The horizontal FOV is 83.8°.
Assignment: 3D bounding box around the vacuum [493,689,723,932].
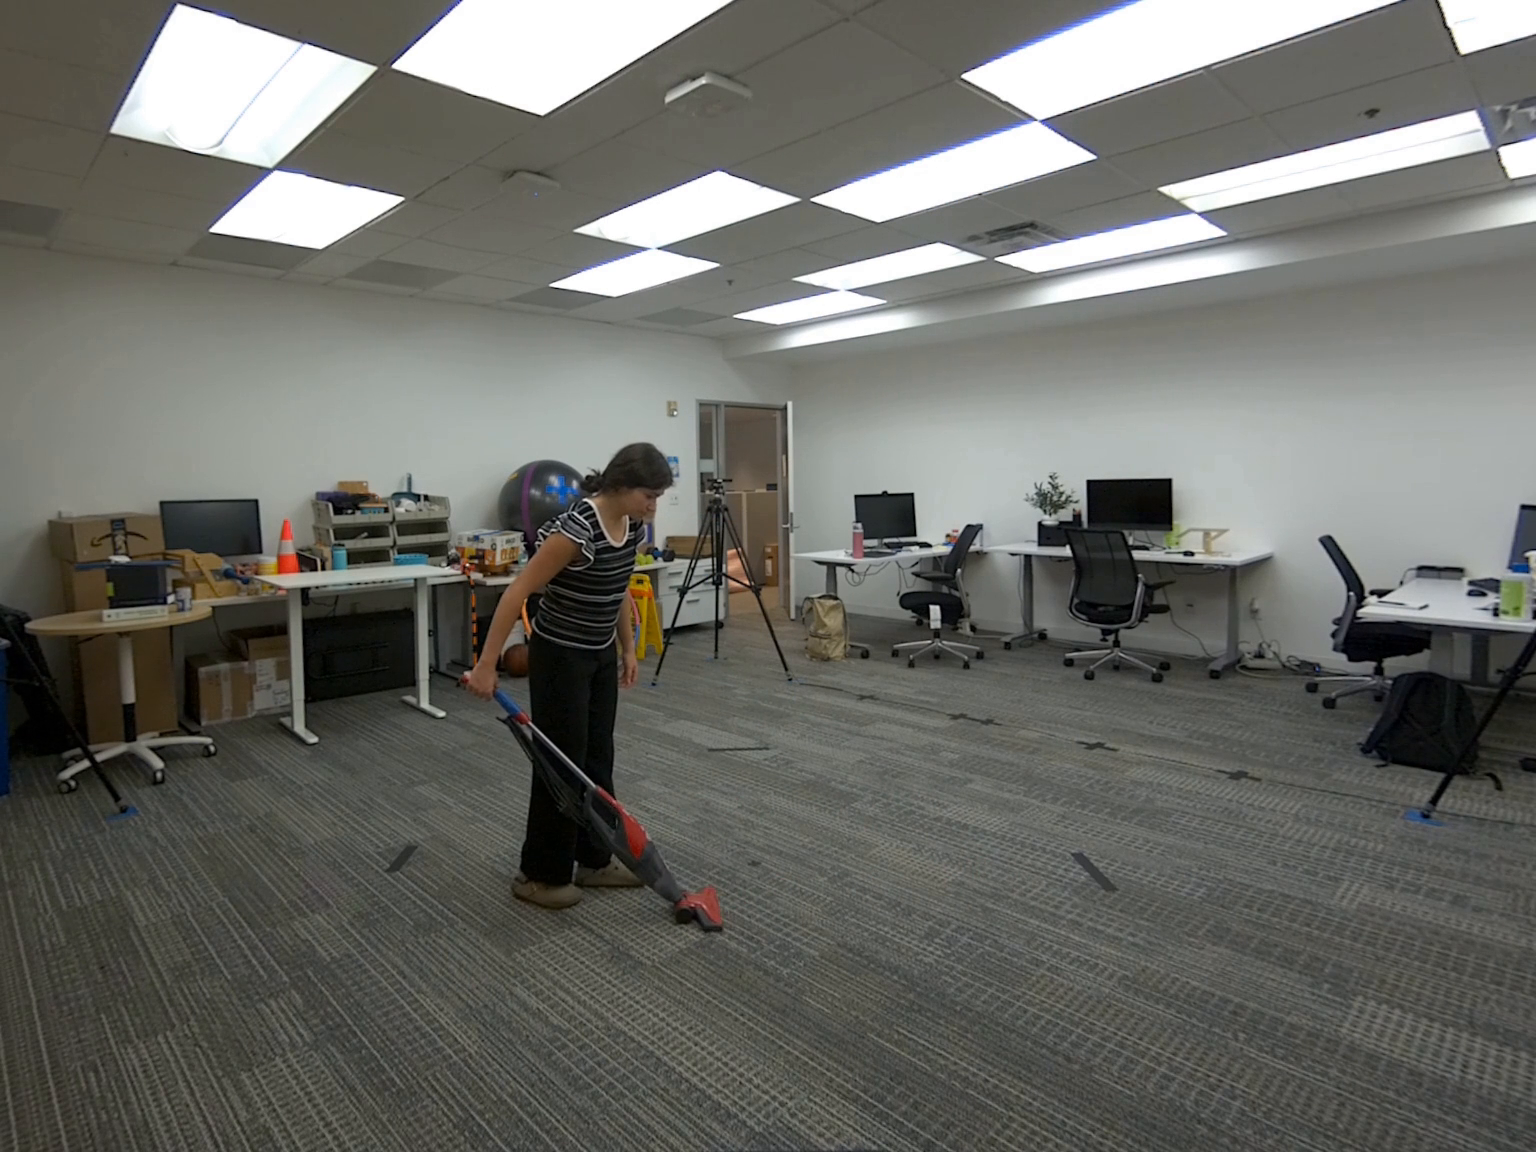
[{"bbox_3d":[-0.563,0.706,2.691,0.144,1.039,0.255,-44,8,-1],"label":"vacuum"}]
